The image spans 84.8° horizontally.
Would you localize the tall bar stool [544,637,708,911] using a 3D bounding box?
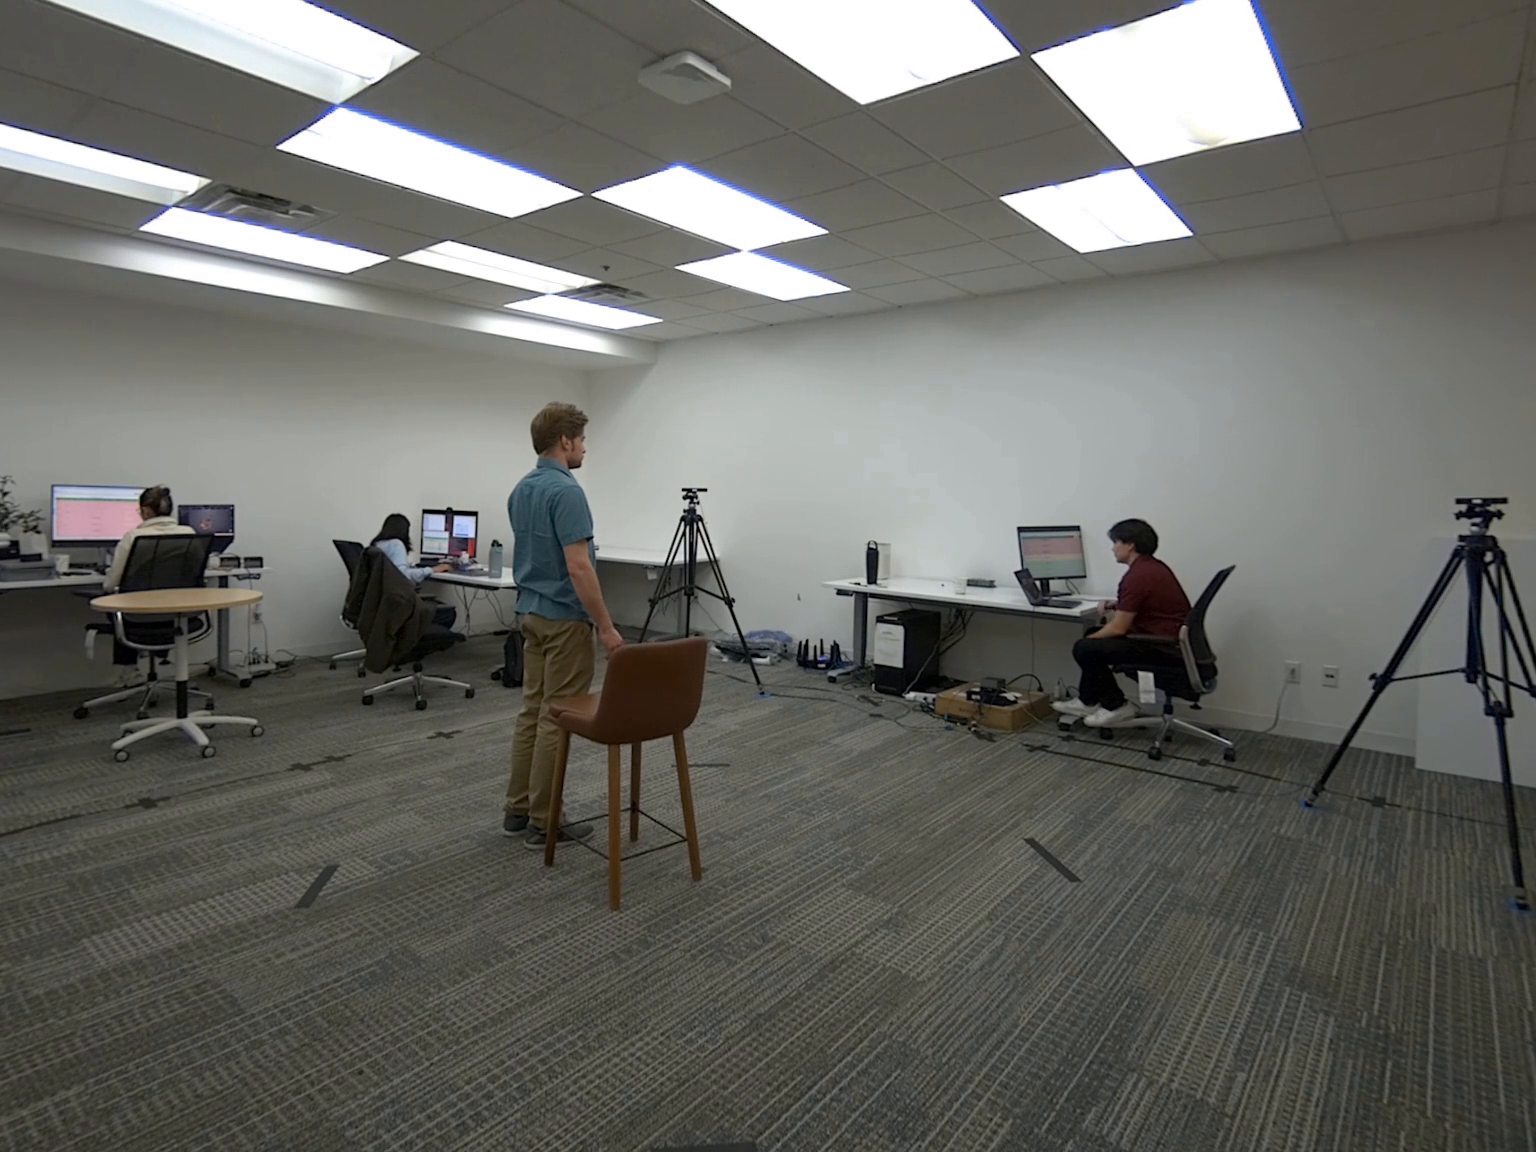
[{"bbox_3d":[-0.516,0.634,3.054,0.442,0.886,0.484,-1,6,-42],"label":"tall bar stool"}]
